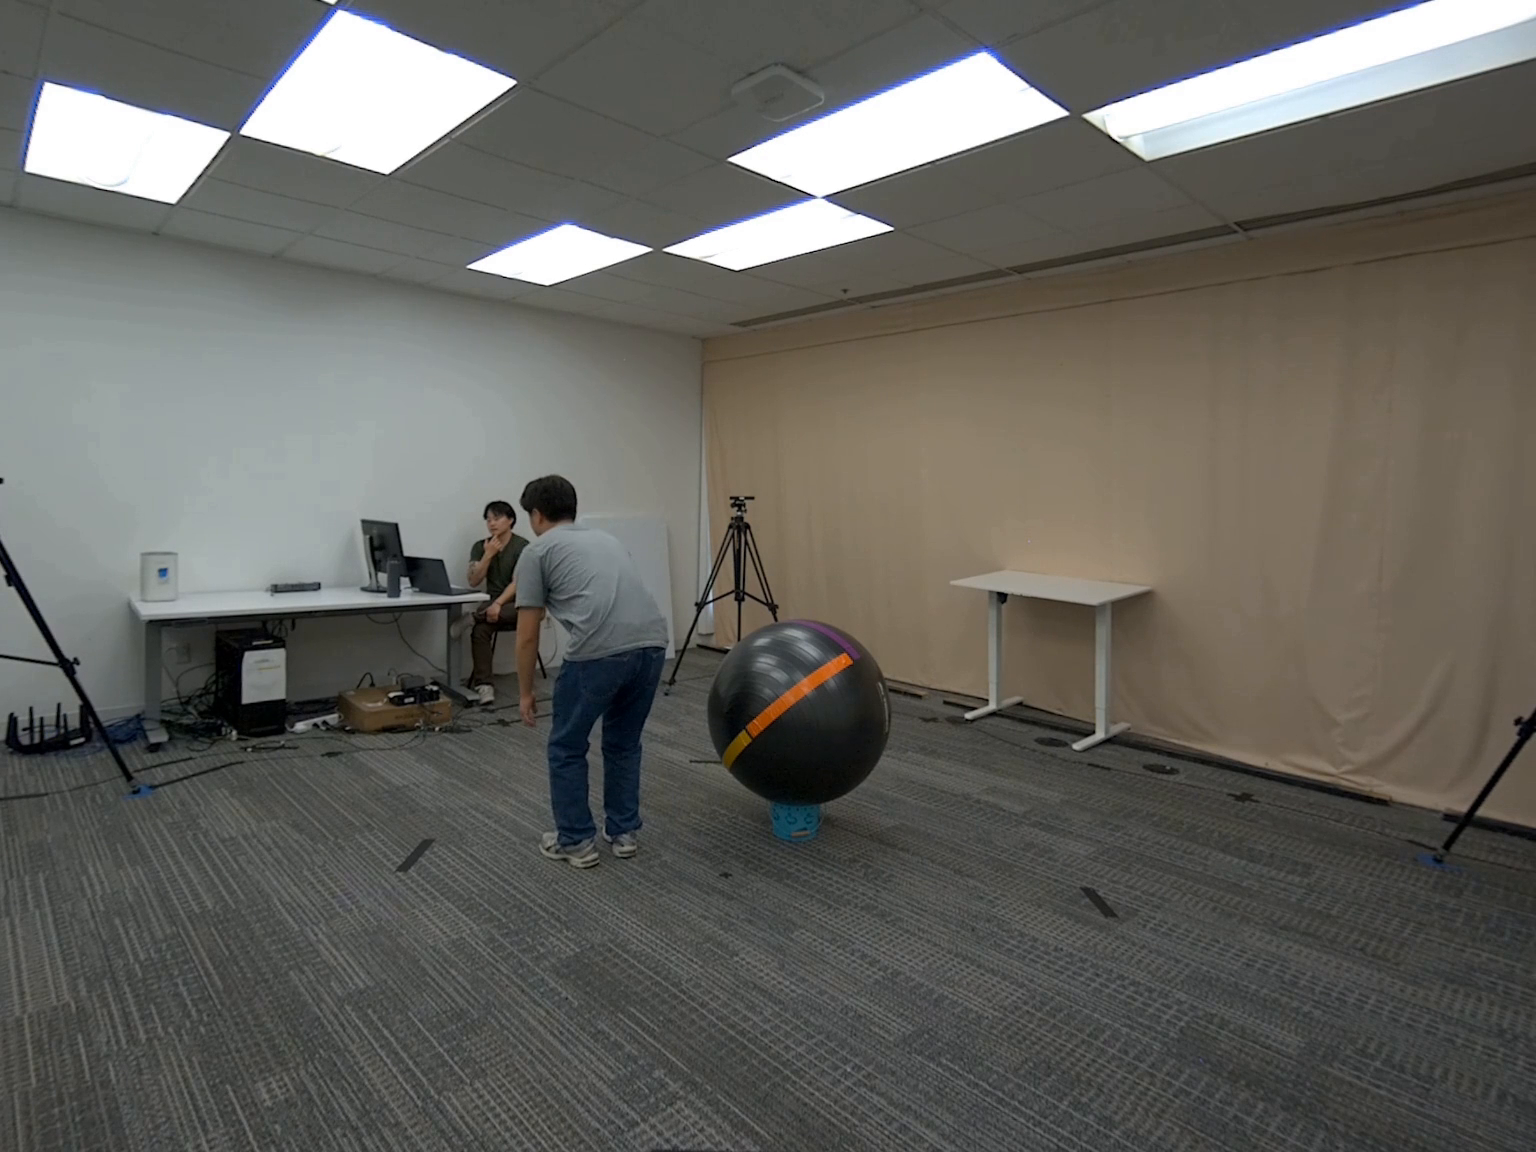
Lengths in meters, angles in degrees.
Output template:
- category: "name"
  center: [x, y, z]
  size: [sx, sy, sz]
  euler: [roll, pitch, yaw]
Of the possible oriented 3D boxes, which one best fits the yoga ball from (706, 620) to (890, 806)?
- category: "yoga ball"
  center: [0.124, 0.561, 3.507]
  size: [0.757, 0.756, 0.761]
  euler: [1, 4, -1]
